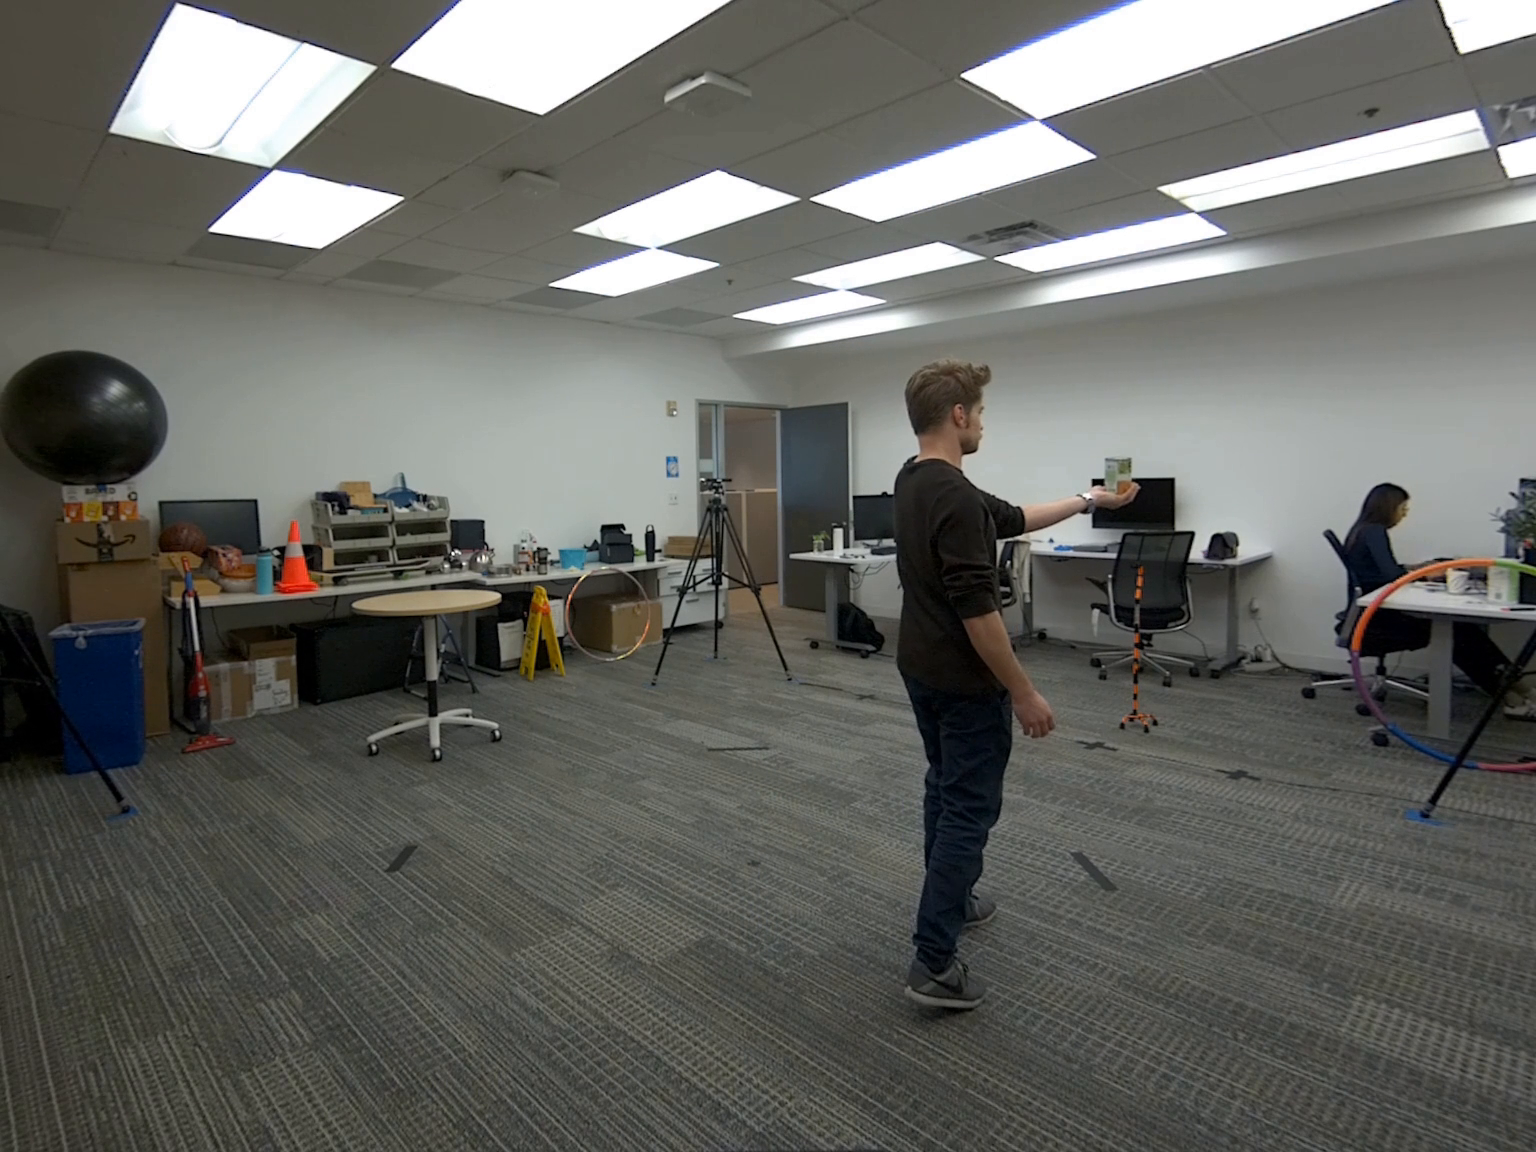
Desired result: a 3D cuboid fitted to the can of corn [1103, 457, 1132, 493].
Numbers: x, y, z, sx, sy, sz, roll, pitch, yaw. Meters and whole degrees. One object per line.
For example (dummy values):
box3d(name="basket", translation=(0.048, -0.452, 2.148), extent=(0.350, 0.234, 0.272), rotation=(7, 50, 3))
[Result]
box3d(name="can of corn", translation=(1.068, -0.304, 2.617), extent=(0.074, 0.110, 0.075), rotation=(-3, 6, -1))
